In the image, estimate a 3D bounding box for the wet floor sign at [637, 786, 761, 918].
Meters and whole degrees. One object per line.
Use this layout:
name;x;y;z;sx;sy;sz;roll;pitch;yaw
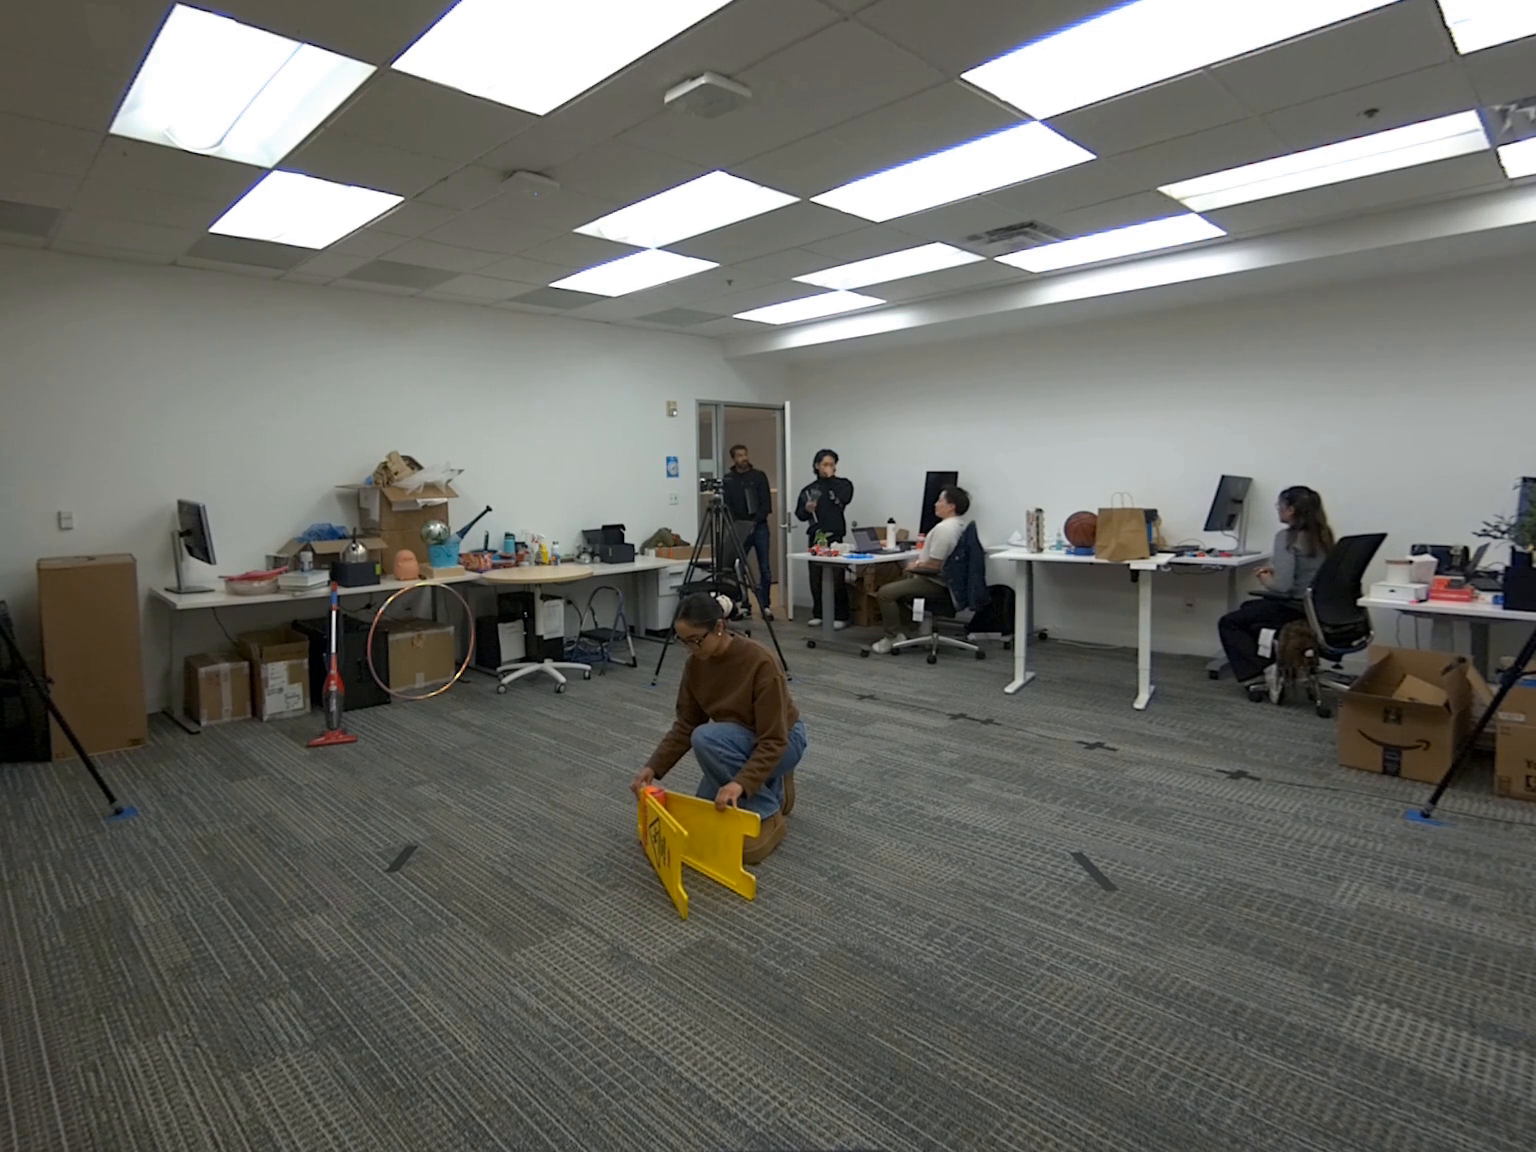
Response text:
wet floor sign;-0.320;0.930;3.049;0.282;0.282;0.663;-1;3;-32
